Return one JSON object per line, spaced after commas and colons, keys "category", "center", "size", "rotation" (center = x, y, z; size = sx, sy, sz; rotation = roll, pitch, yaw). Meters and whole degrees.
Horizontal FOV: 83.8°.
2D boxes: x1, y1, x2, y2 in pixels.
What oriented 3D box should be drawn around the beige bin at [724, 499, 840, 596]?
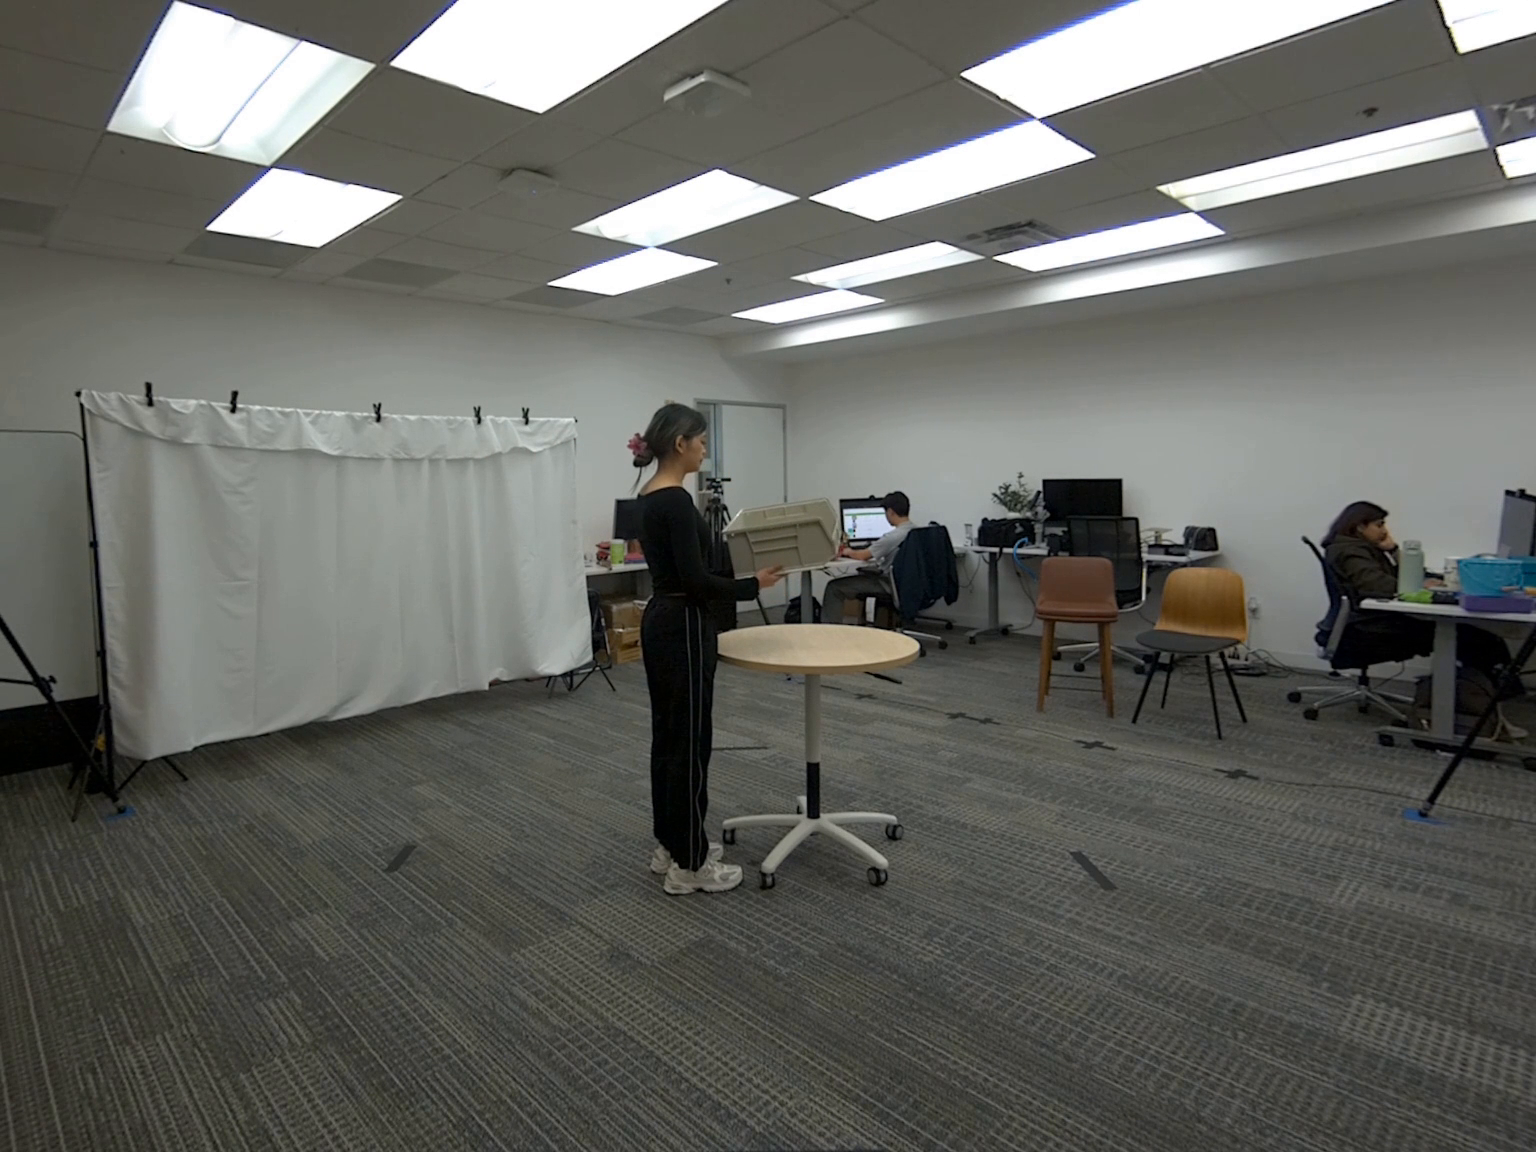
{"category": "beige bin", "center": [0.081, -0.140, 3.119], "size": [0.380, 0.186, 0.424], "rotation": [-11, 13, 9]}
